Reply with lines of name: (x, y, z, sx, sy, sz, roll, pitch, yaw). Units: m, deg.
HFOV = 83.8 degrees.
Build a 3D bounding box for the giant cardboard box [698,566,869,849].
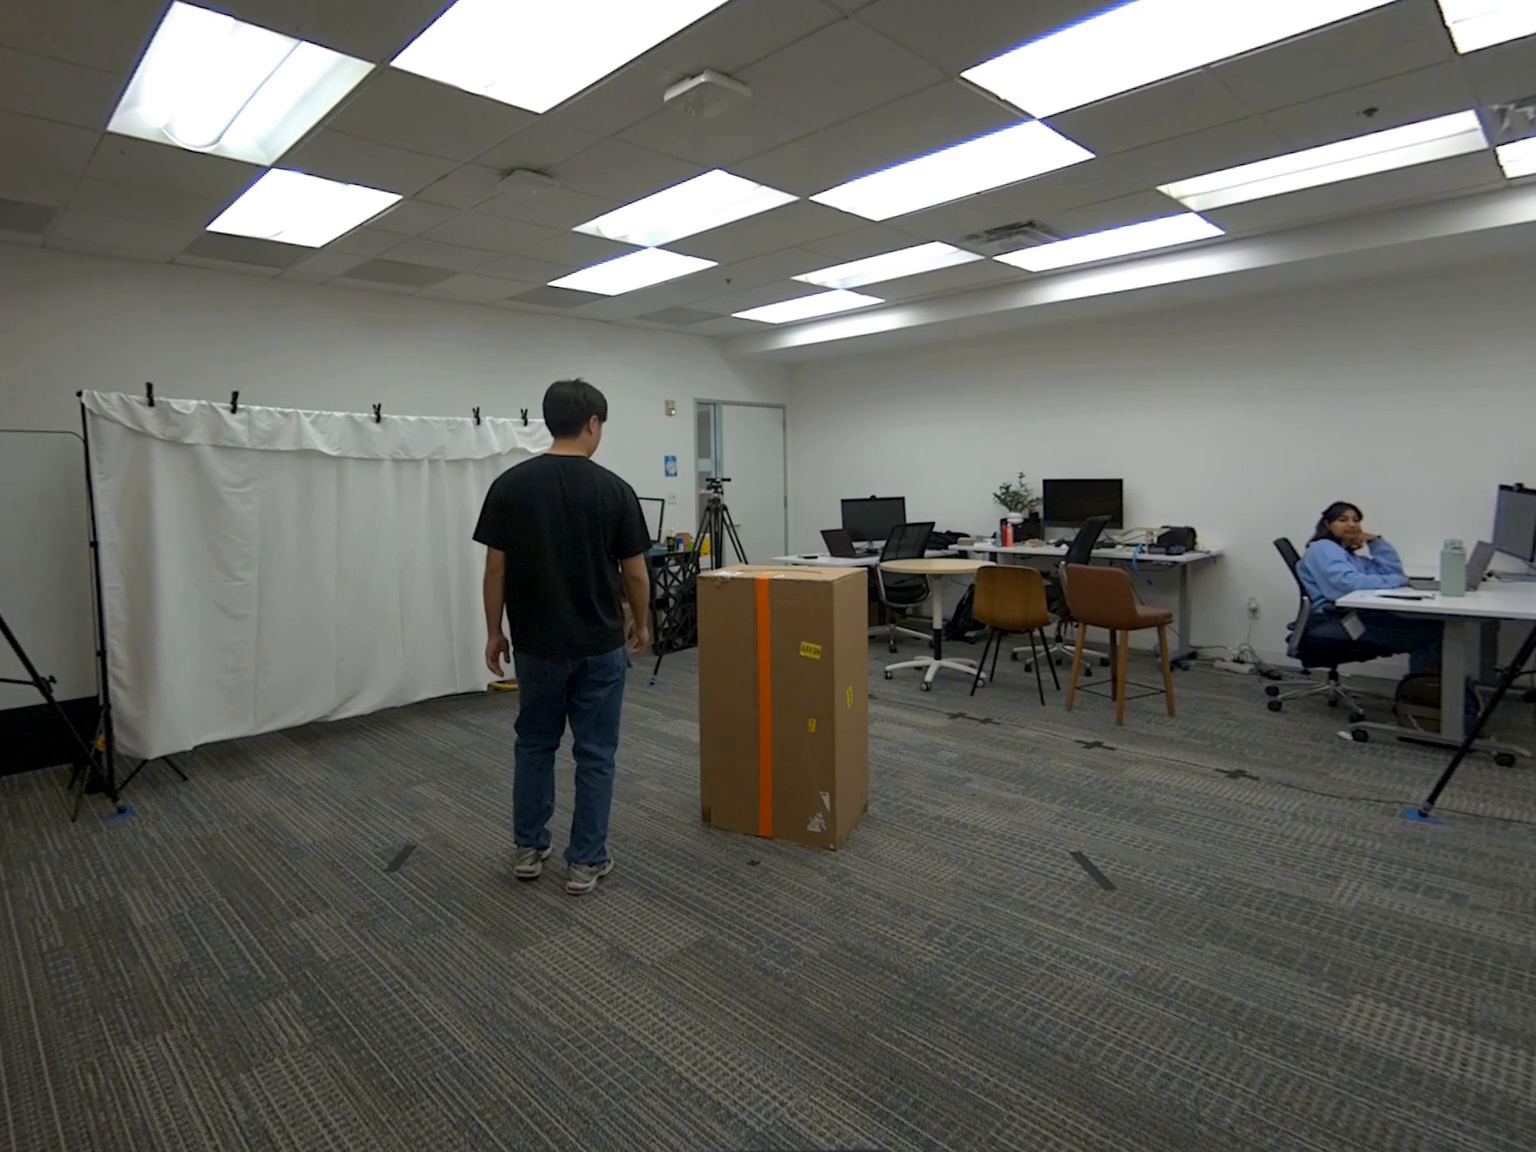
giant cardboard box: (0.071, 0.485, 3.472, 0.598, 1.022, 0.438, 2, 6, 27)
